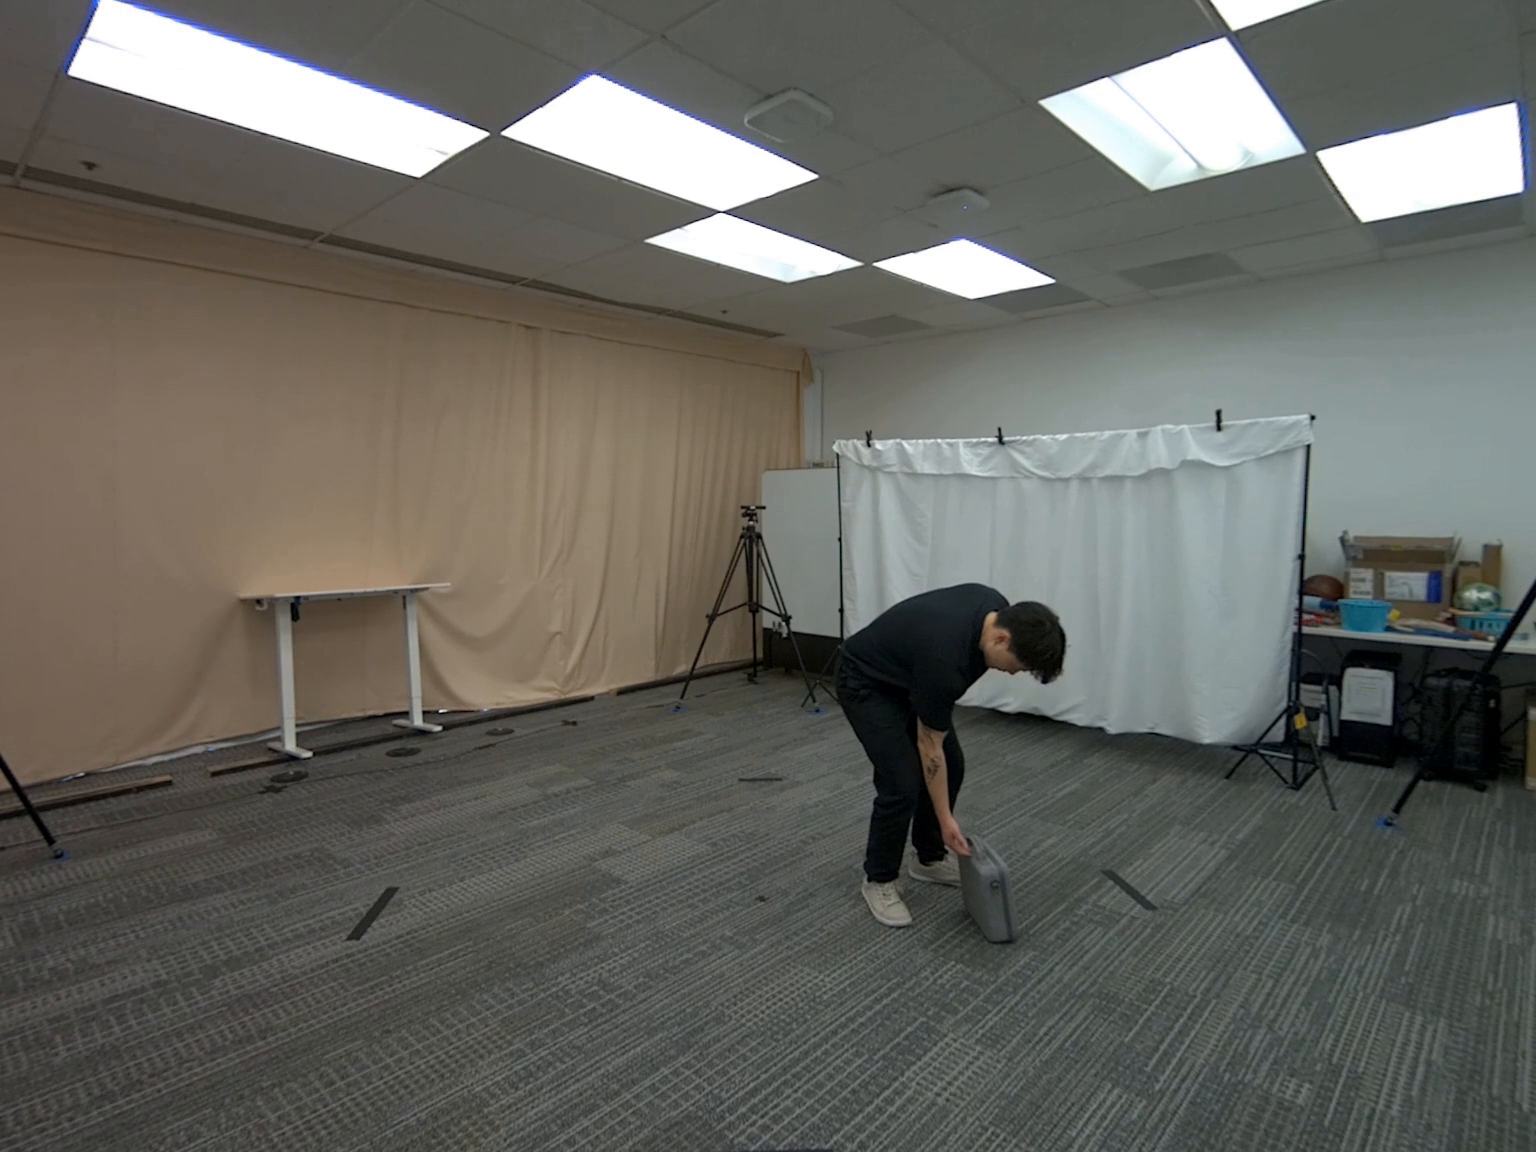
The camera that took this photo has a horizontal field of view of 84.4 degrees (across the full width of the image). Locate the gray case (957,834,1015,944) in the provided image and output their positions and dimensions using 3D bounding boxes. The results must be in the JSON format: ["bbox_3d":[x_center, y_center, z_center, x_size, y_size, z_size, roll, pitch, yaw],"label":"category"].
[{"bbox_3d":[0.720,1.022,2.775,0.104,0.260,0.258,-8,5,-4],"label":"gray case"}]
